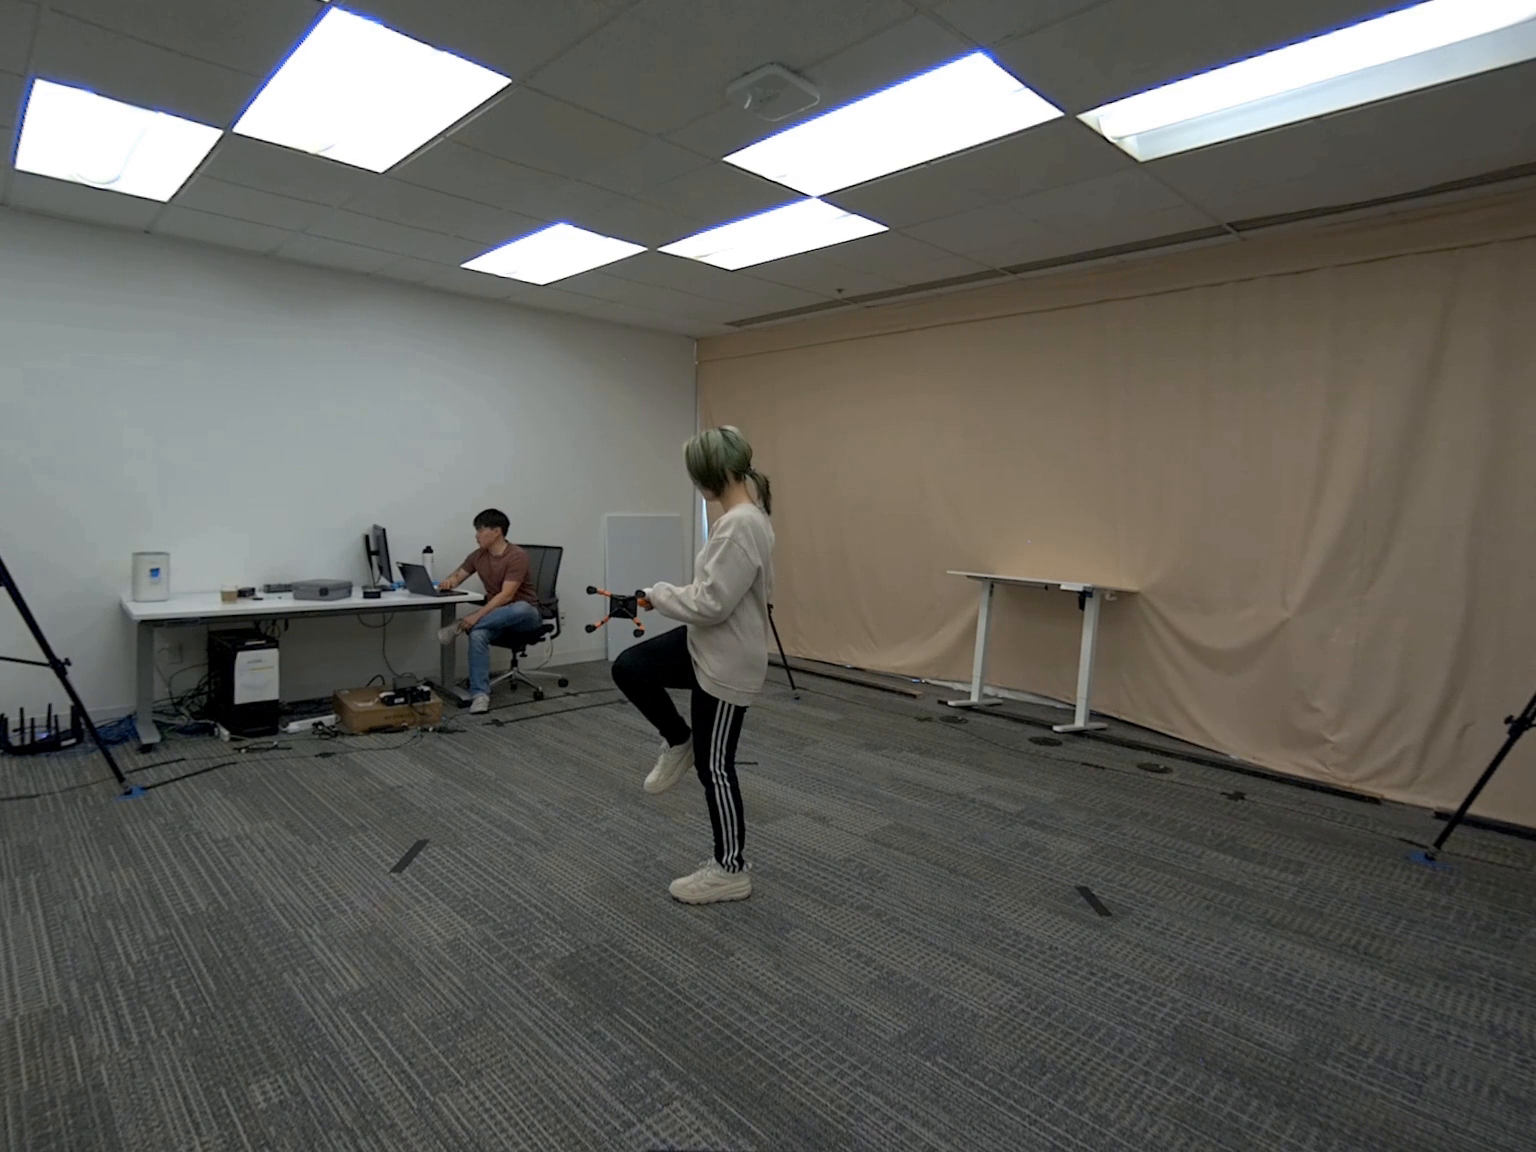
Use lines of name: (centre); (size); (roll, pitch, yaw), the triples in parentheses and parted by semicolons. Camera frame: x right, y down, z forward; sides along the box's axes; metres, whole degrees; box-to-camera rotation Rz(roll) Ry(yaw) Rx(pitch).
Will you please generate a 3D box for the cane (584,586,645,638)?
cane: (-0.354, 0.095, 3.095); (0.210, 0.151, 0.893); (3, 3, 21)
